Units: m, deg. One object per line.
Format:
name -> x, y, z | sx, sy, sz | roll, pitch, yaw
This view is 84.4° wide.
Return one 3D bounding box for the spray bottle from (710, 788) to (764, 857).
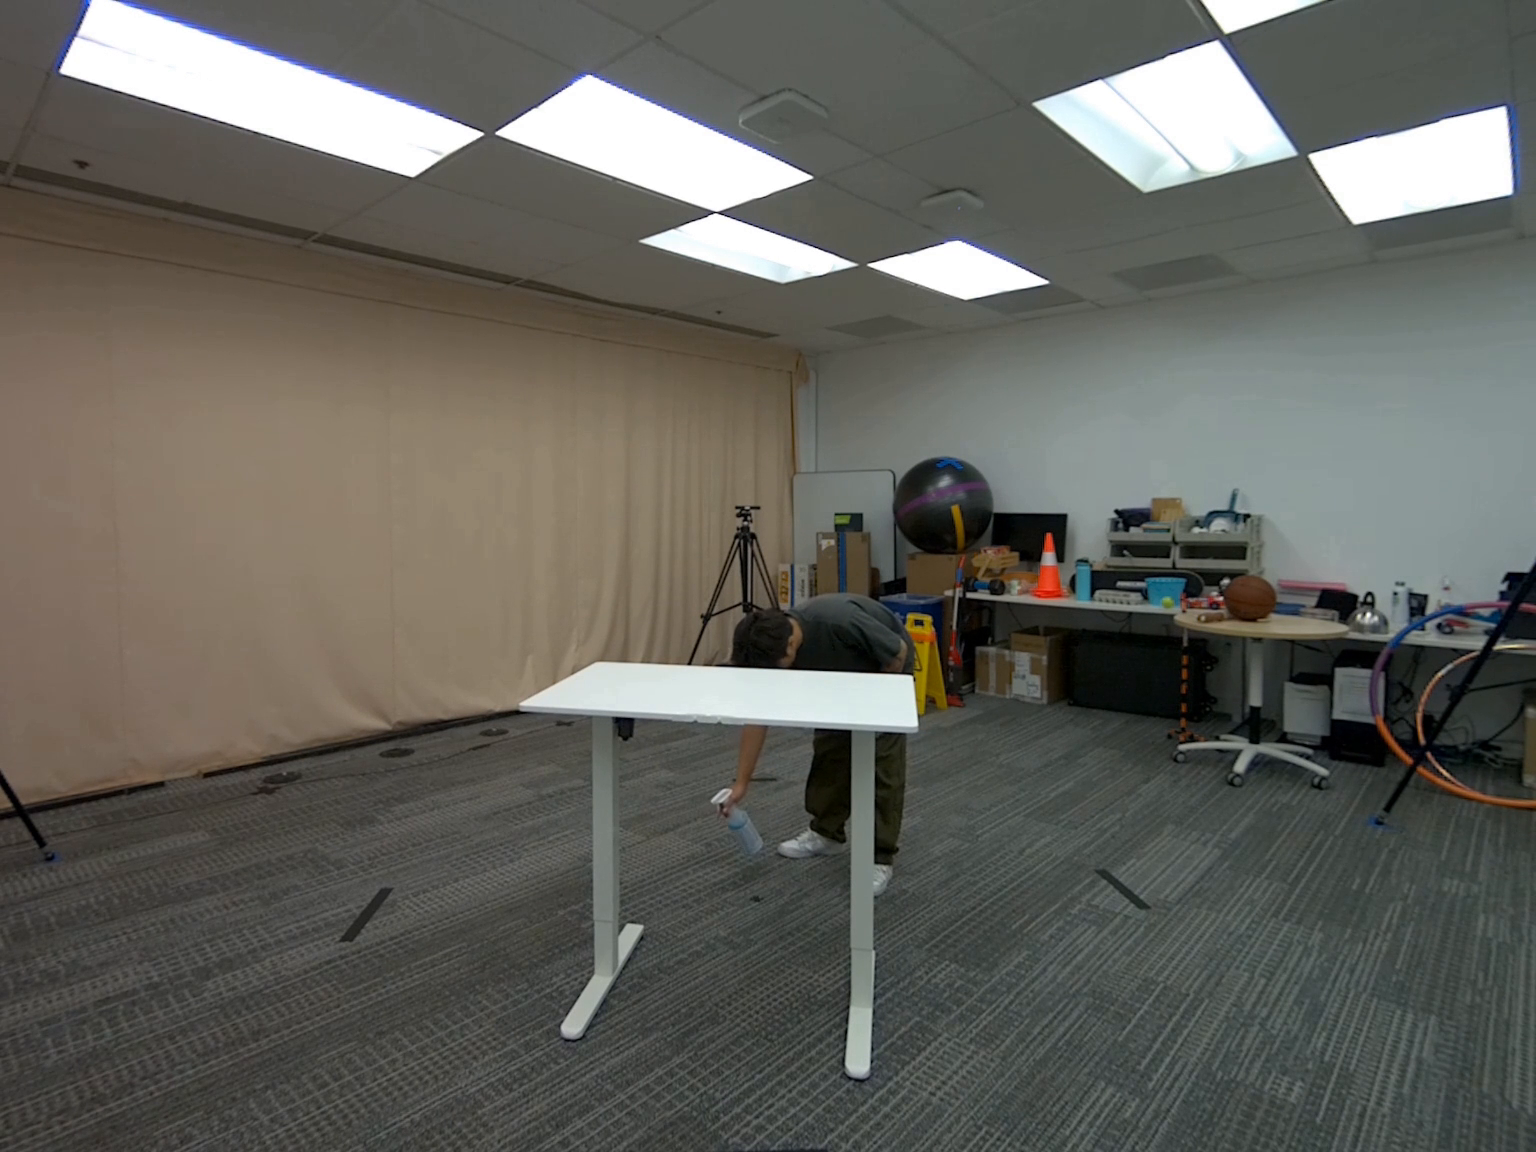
spray bottle -> -0.111, 0.925, 3.174 | 0.090, 0.292, 0.089 | -26, 20, 0
